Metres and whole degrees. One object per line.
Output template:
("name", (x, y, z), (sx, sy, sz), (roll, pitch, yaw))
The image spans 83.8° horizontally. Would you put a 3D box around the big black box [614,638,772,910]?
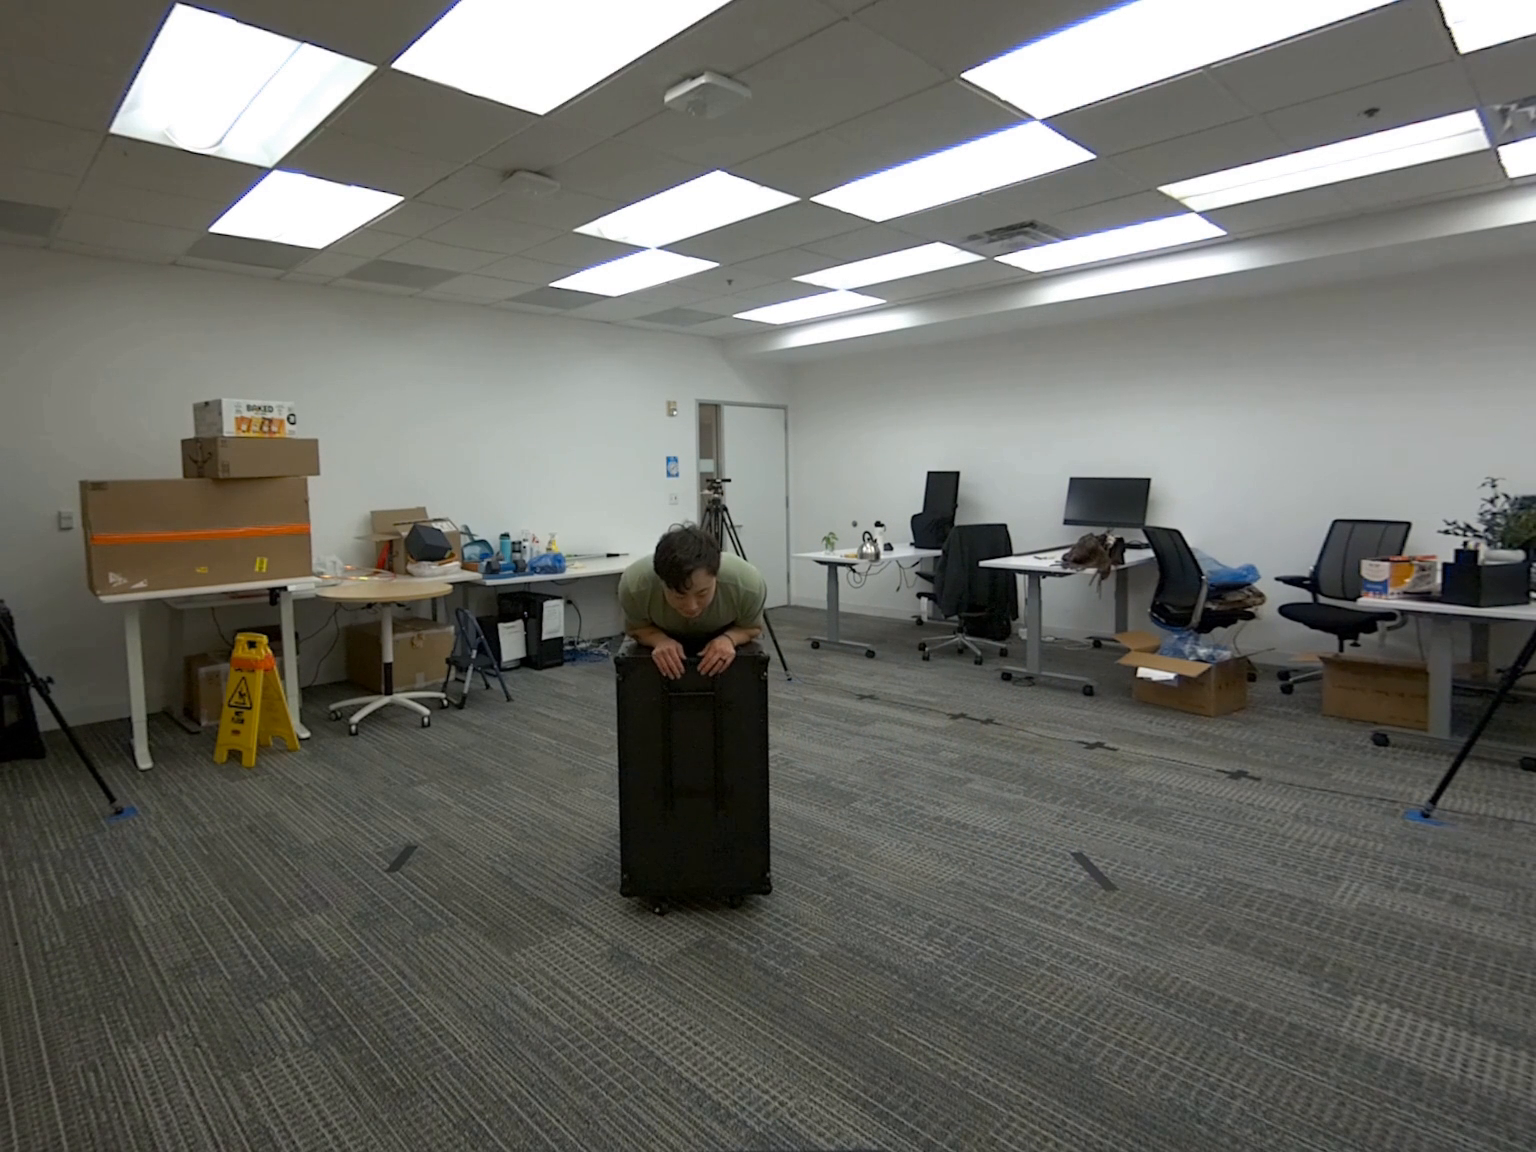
("big black box", (-0.236, 0.656, 2.862), (0.520, 0.858, 0.398), (-1, 5, -2))
